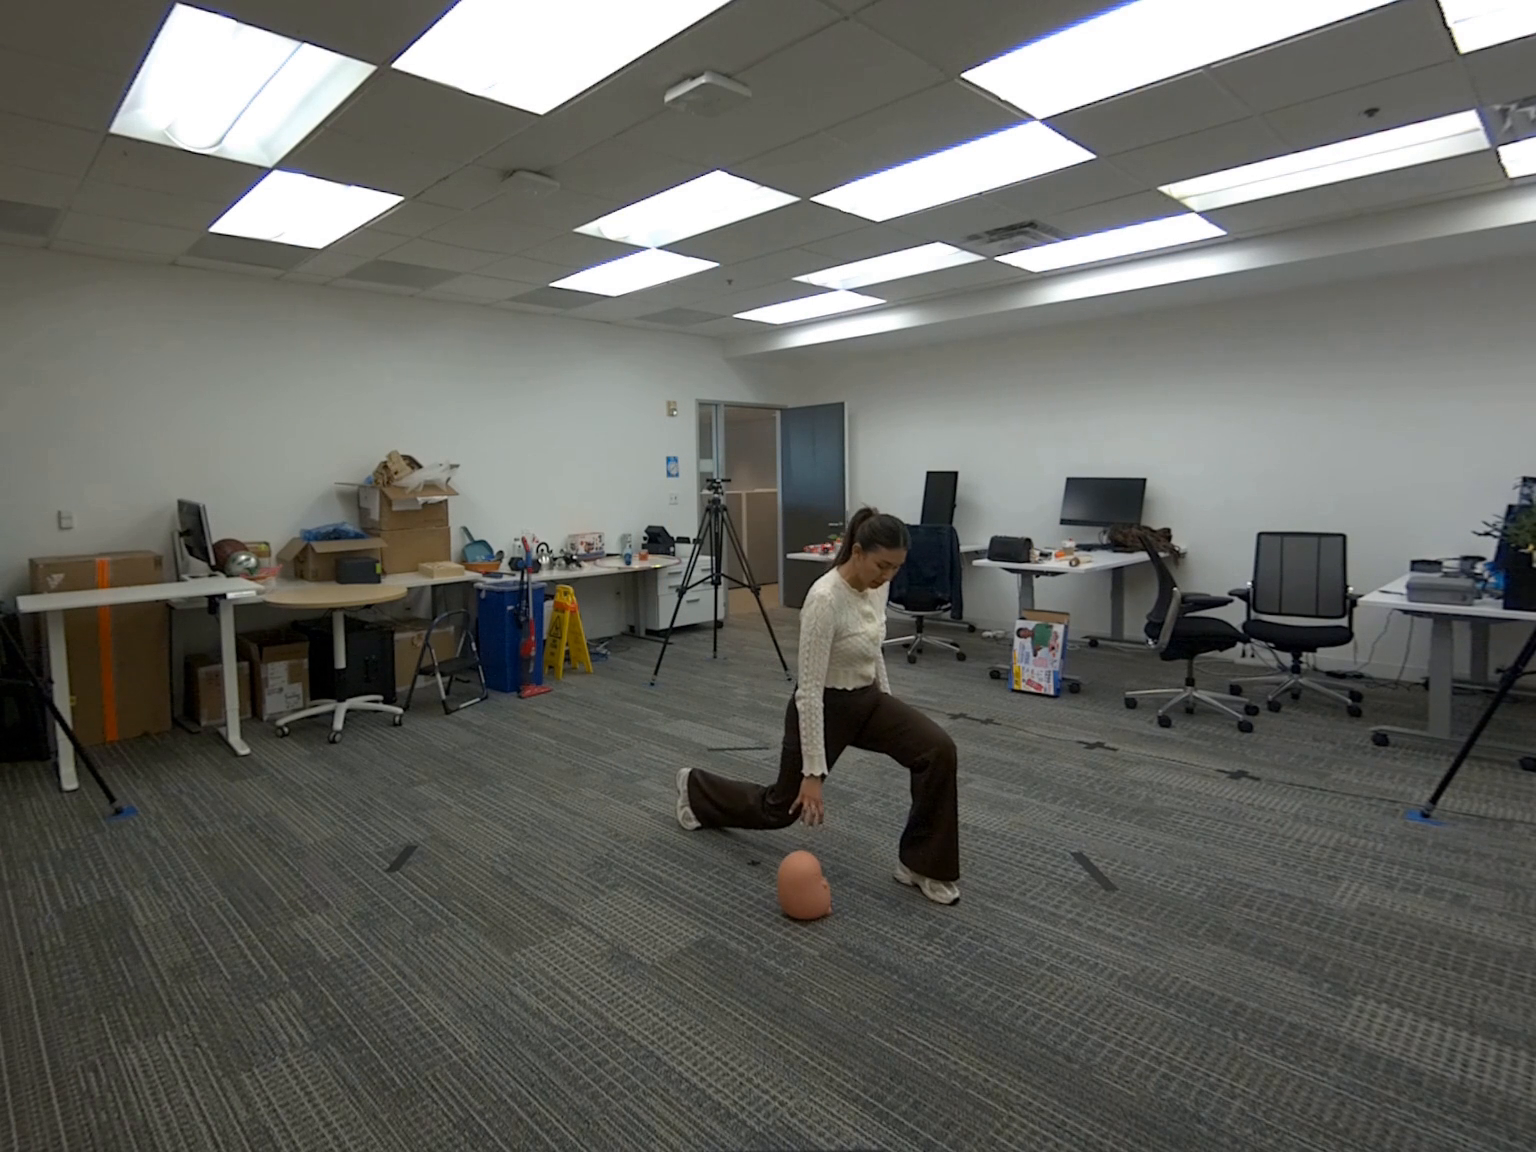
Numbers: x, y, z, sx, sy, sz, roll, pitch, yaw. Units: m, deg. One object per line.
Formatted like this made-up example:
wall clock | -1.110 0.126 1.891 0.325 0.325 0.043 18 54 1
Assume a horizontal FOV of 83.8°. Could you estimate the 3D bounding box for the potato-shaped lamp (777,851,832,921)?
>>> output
potato-shaped lamp | 0.120 0.982 2.740 0.170 0.197 0.167 -5 6 -11
